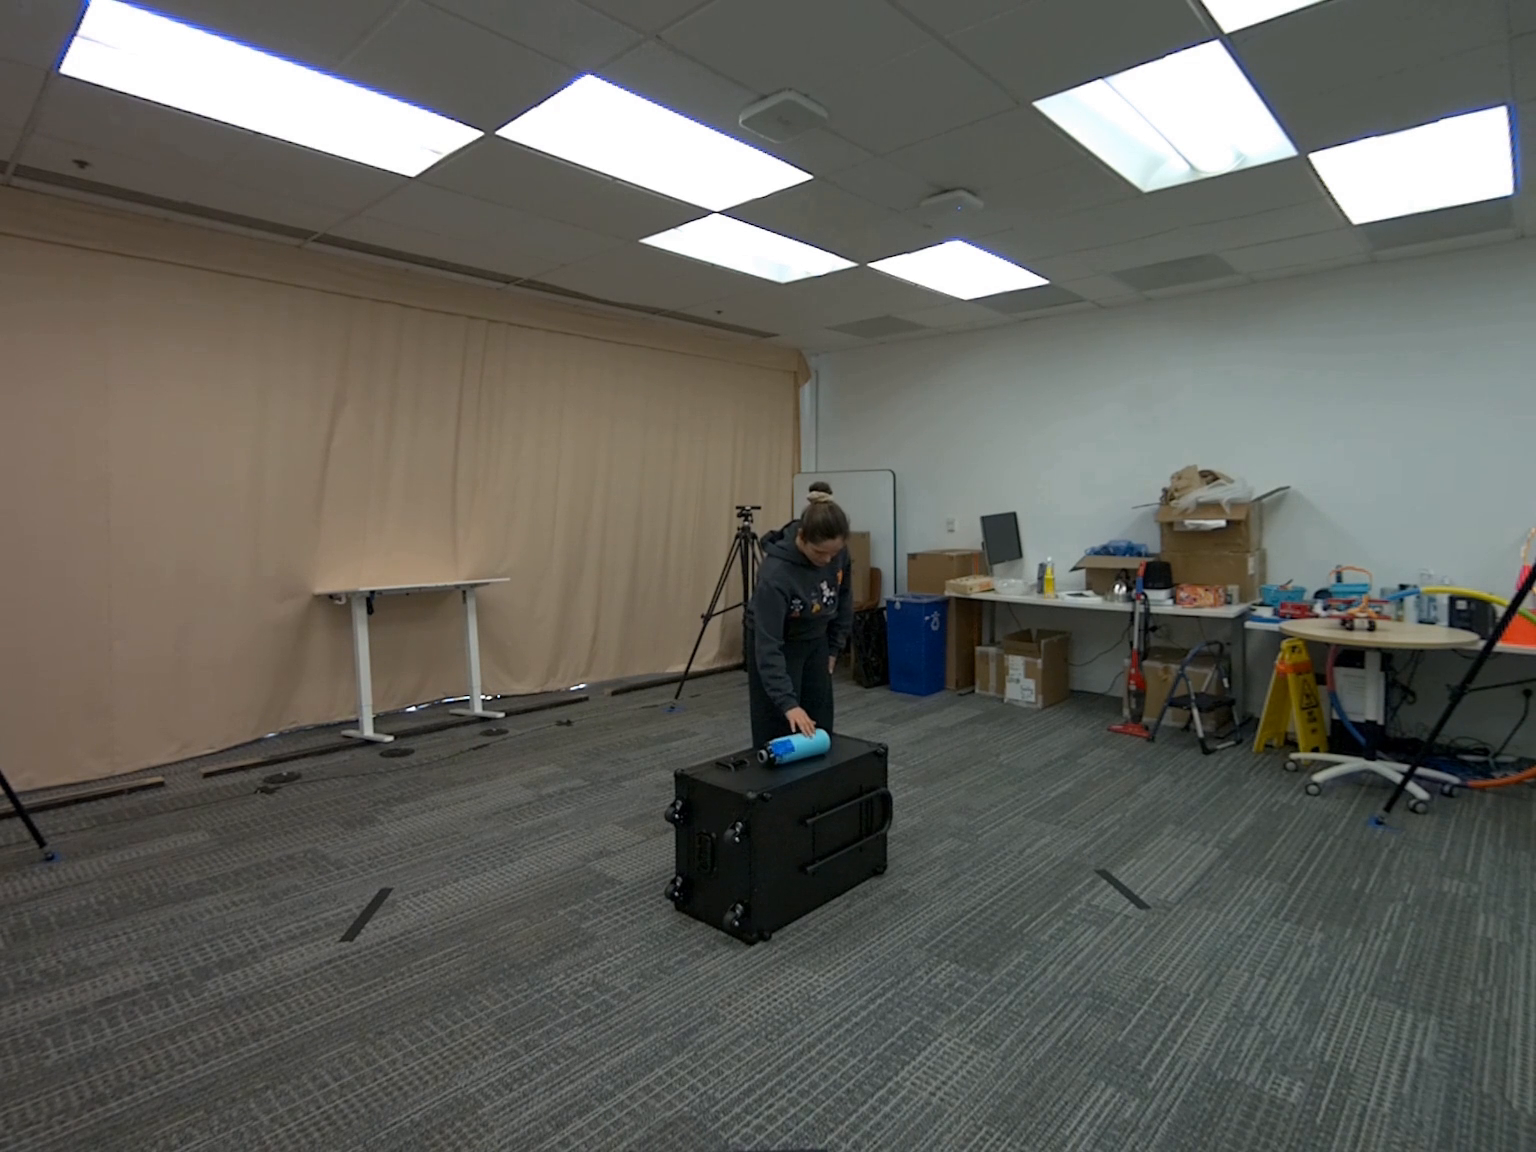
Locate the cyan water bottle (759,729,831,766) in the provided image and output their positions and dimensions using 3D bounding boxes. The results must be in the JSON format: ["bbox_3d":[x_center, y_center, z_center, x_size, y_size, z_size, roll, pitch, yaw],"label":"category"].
[{"bbox_3d":[0.104,0.603,3.008,0.275,0.092,0.095,-5,6,-38],"label":"cyan water bottle"}]
